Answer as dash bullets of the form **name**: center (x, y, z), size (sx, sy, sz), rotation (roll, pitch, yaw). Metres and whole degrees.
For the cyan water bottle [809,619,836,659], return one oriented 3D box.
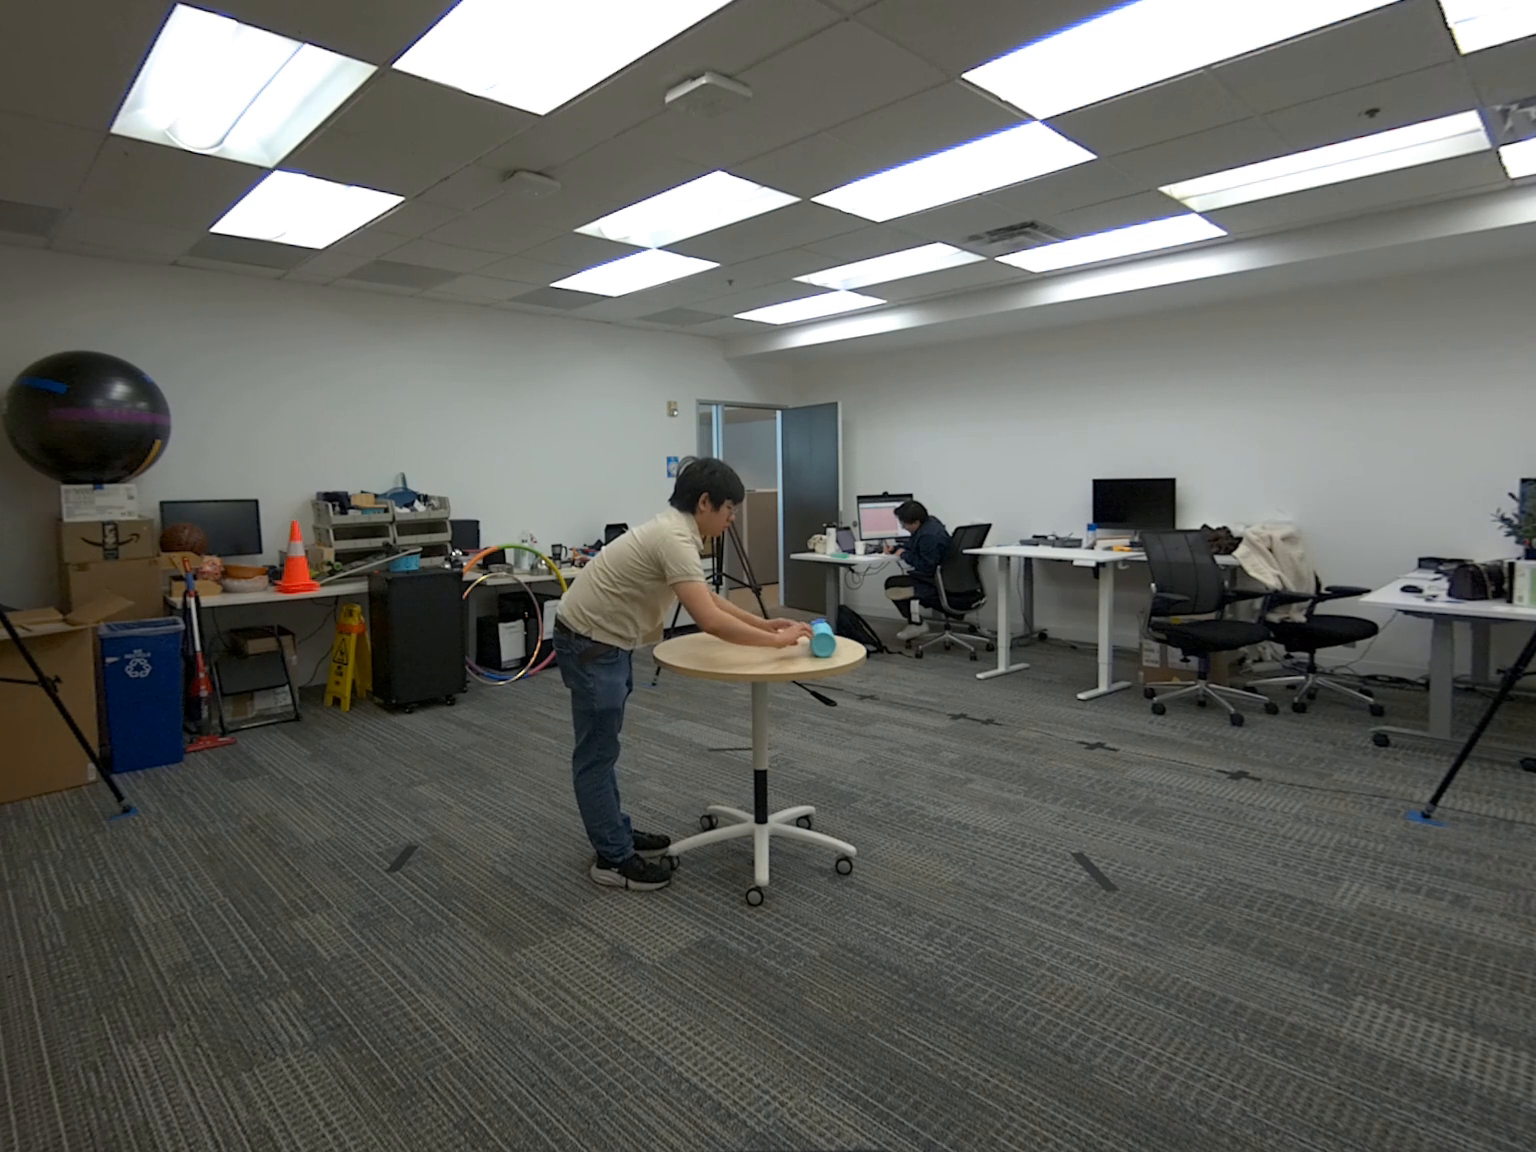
- **cyan water bottle**: center (0.185, 0.215, 3.047), size (0.092, 0.092, 0.284), rotation (-1, 6, 0)
